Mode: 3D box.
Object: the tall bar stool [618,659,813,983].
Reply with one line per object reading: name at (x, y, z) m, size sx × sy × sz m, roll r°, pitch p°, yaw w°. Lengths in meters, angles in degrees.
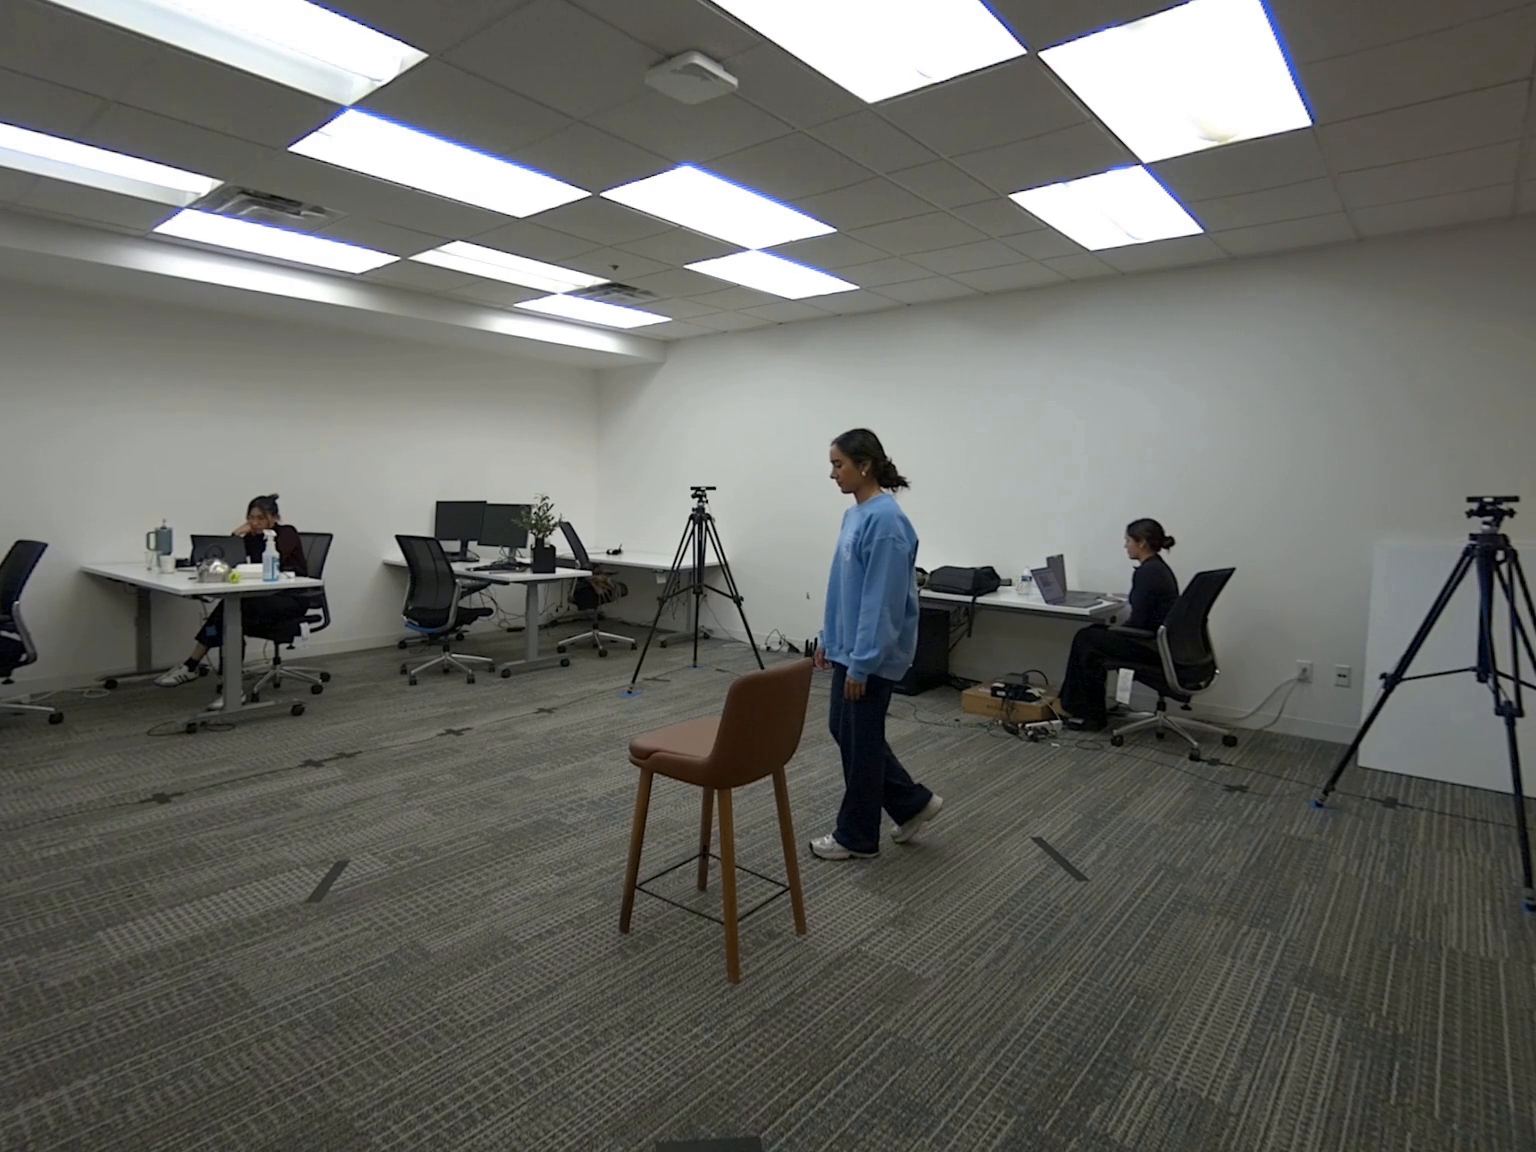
tall bar stool at (-0.161, 0.676, 2.636) m, size 0.483 × 0.886 × 0.443 m, roll 6°, pitch 6°, yaw 37°
